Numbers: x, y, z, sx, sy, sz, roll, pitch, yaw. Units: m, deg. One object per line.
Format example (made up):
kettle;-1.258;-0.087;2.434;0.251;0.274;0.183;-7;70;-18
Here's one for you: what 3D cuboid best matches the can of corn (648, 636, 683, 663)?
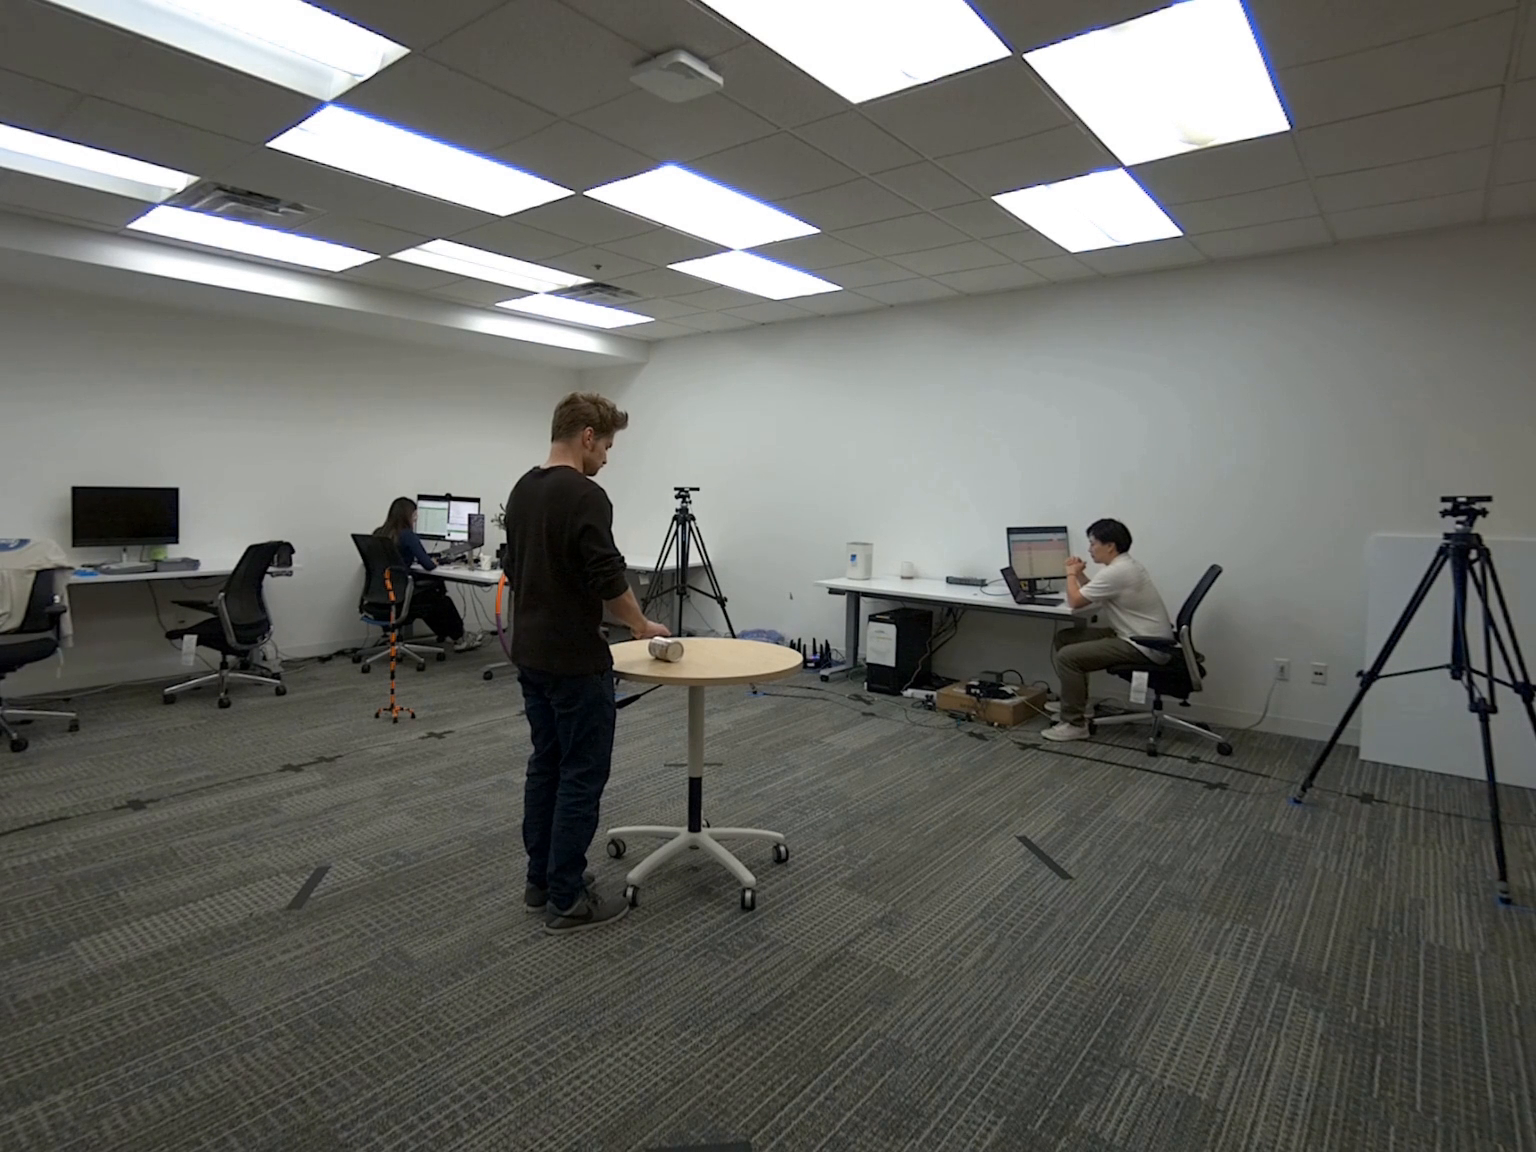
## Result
can of corn;-0.361;0.254;2.979;0.072;0.074;0.115;-2;4;-38
